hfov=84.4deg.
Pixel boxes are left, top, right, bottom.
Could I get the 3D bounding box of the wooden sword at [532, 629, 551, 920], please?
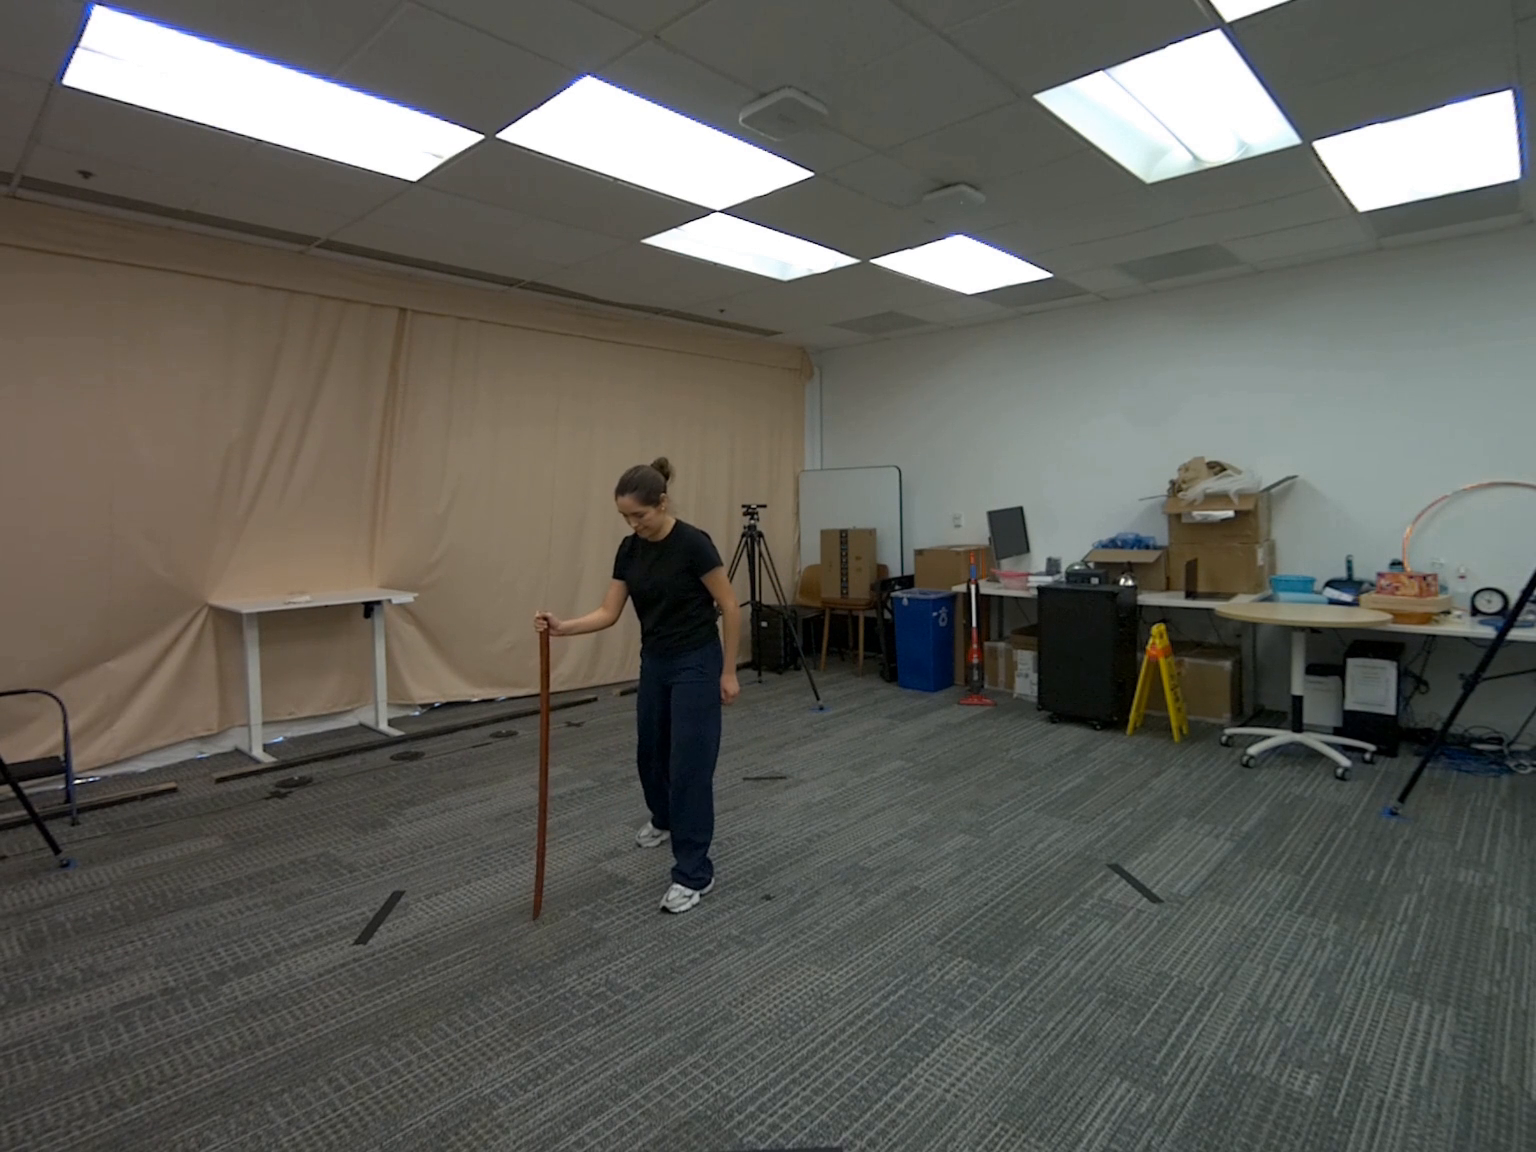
[{"bbox_3d":[-0.758,0.654,2.895,0.024,1.028,0.051,0,-5,3],"label":"wooden sword"}]
